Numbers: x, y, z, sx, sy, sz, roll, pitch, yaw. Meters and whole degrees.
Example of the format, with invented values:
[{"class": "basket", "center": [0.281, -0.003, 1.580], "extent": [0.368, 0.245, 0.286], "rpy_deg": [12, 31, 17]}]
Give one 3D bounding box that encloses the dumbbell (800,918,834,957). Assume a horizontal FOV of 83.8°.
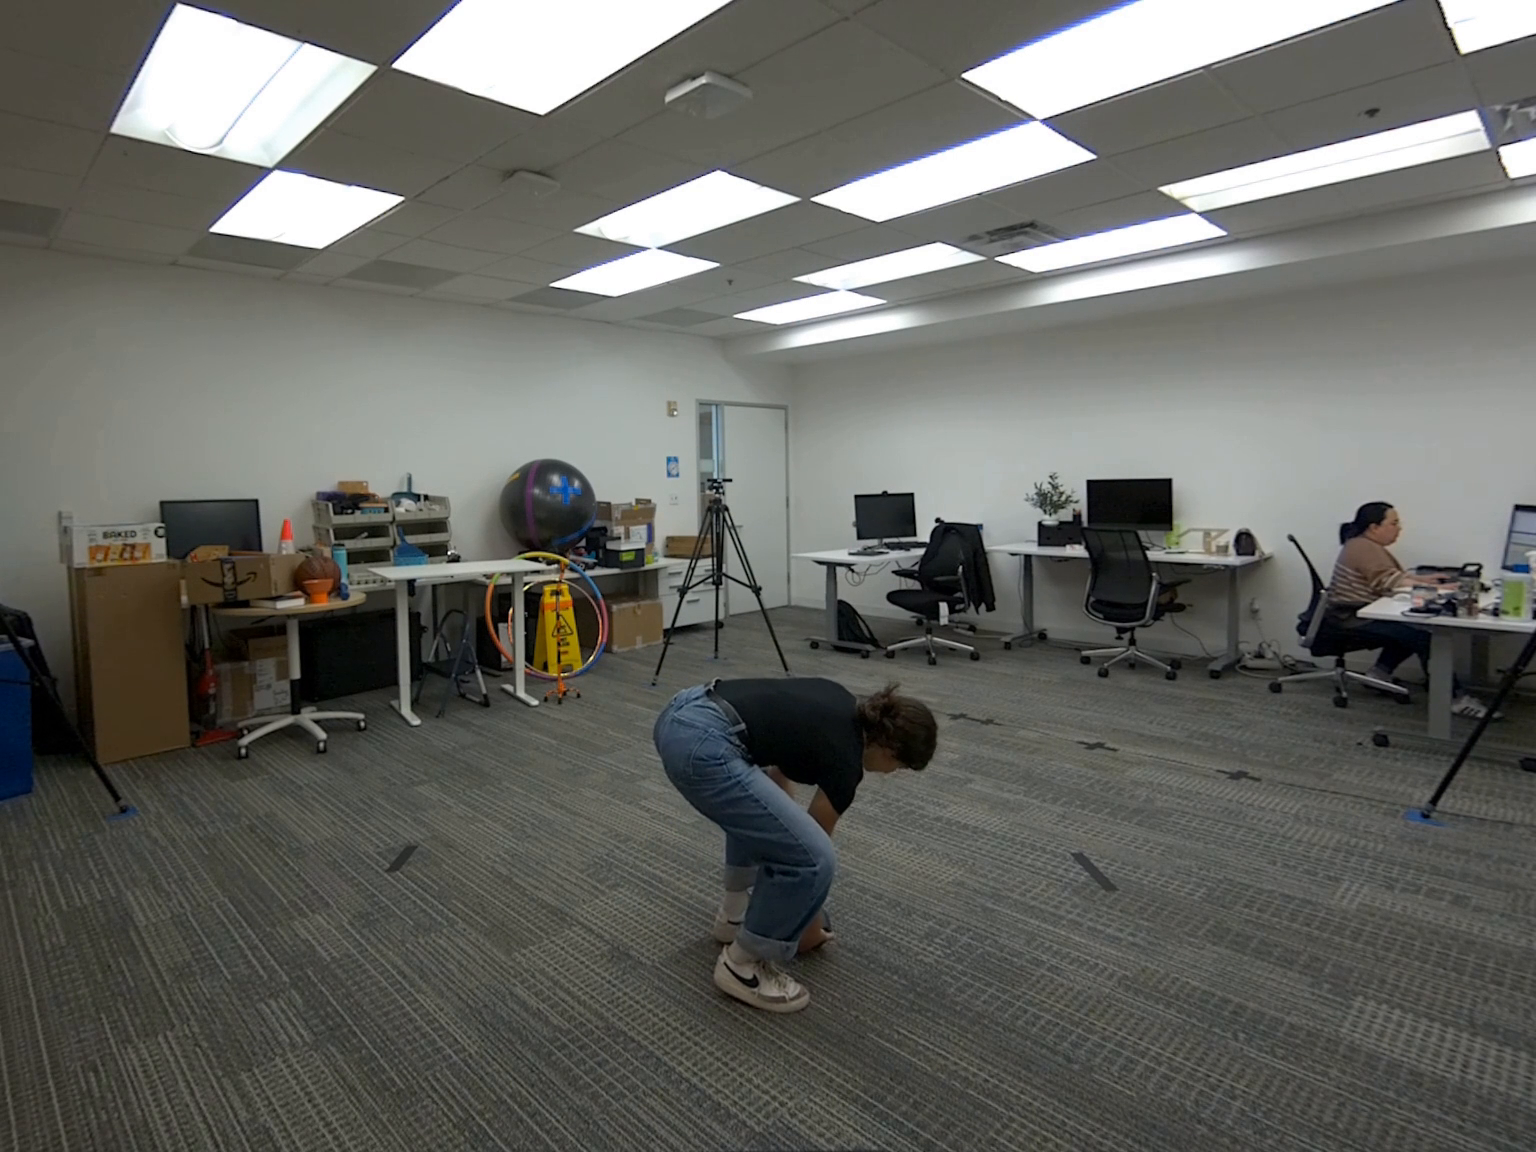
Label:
[{"class": "dumbbell", "center": [0.115, 0.975, 2.618], "extent": [0.121, 0.106, 0.303], "rpy_deg": [2, 39, -13]}]
